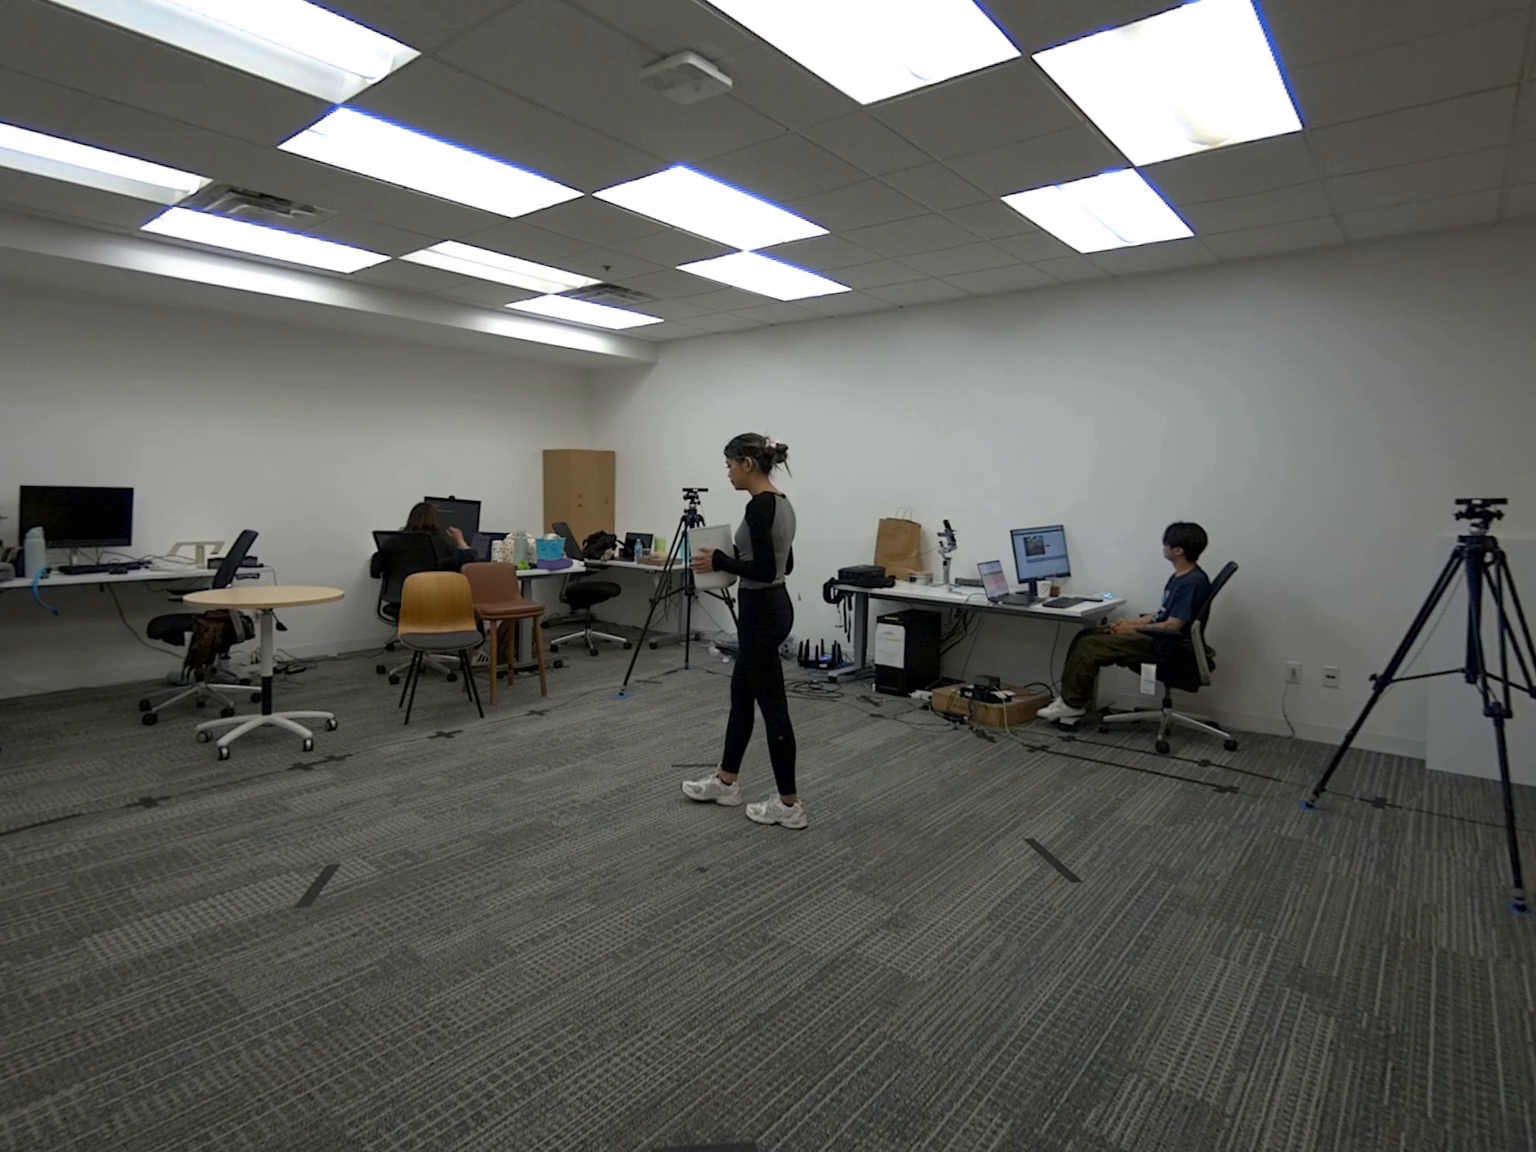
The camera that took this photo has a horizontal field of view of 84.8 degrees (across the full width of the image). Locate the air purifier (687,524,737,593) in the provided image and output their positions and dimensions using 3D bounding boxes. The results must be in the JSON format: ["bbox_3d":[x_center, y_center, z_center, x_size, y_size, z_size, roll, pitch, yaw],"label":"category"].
[{"bbox_3d":[-0.244,-0.086,3.662,0.173,0.265,0.170,-6,3,11],"label":"air purifier"}]
